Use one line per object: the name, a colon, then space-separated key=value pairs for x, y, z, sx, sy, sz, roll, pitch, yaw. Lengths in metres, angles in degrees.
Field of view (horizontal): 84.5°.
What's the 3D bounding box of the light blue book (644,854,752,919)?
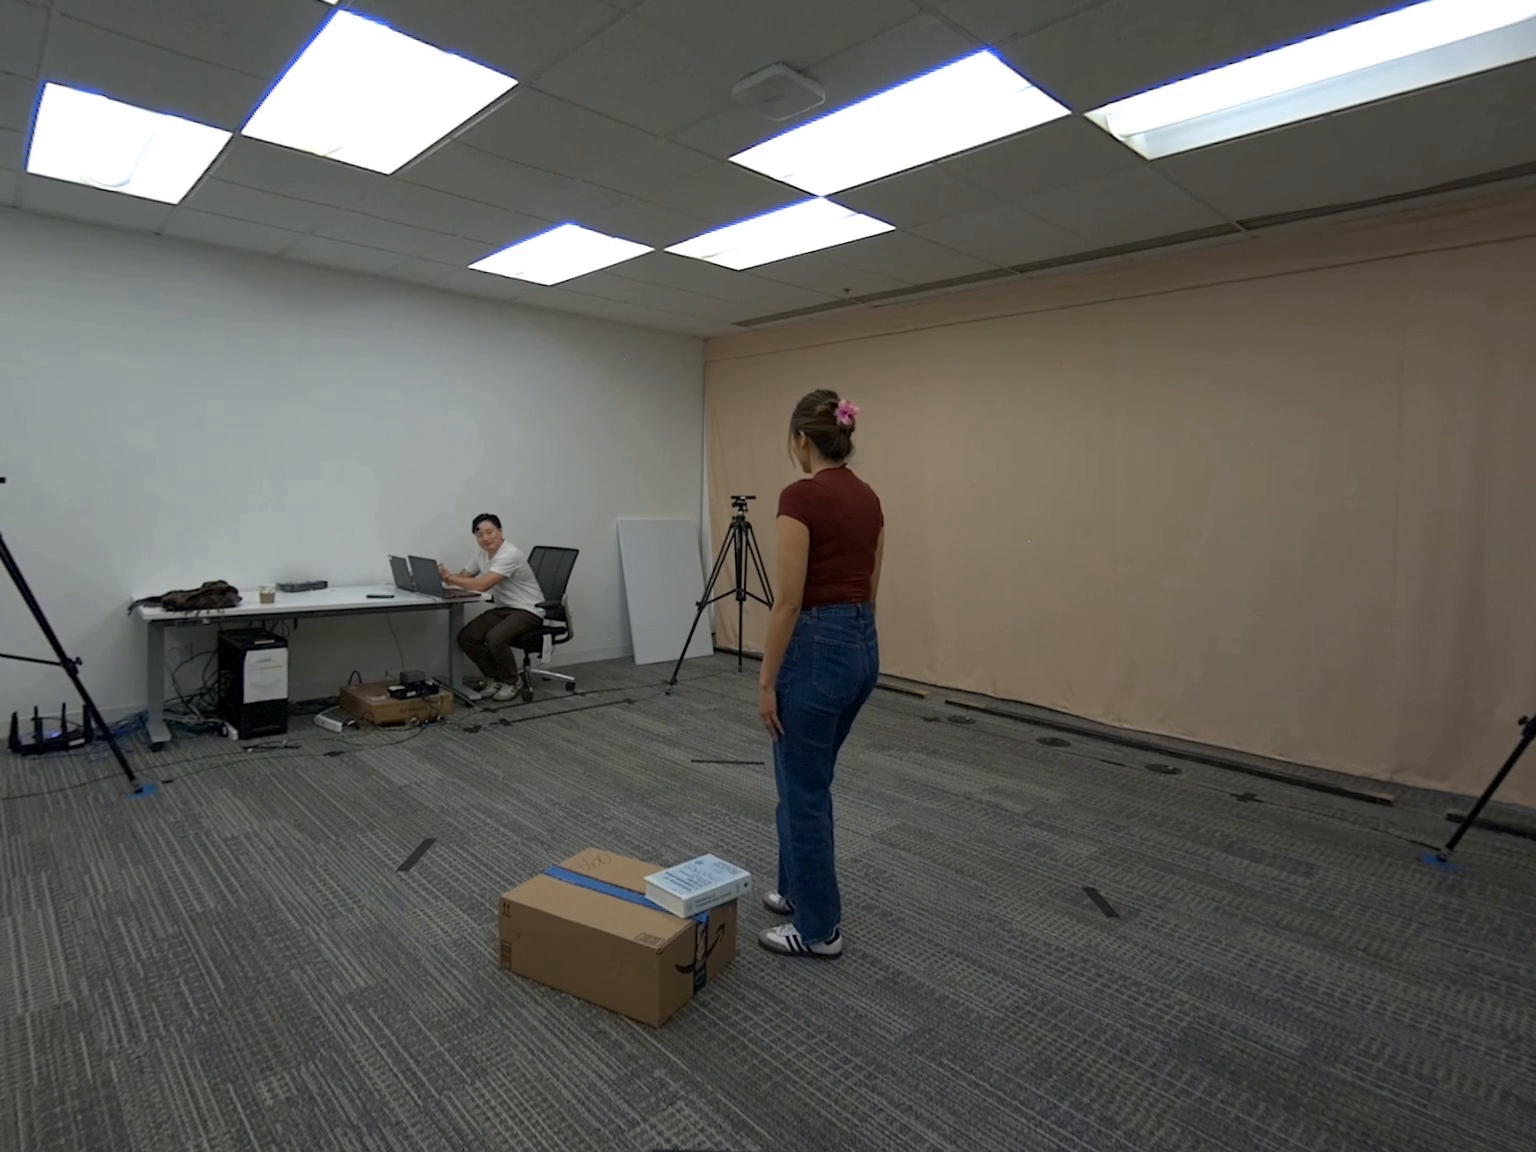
light blue book: x=-0.214 y=0.911 z=2.488 sx=0.255 sy=0.059 sz=0.196 roll=-3 pitch=6 yaw=-44
